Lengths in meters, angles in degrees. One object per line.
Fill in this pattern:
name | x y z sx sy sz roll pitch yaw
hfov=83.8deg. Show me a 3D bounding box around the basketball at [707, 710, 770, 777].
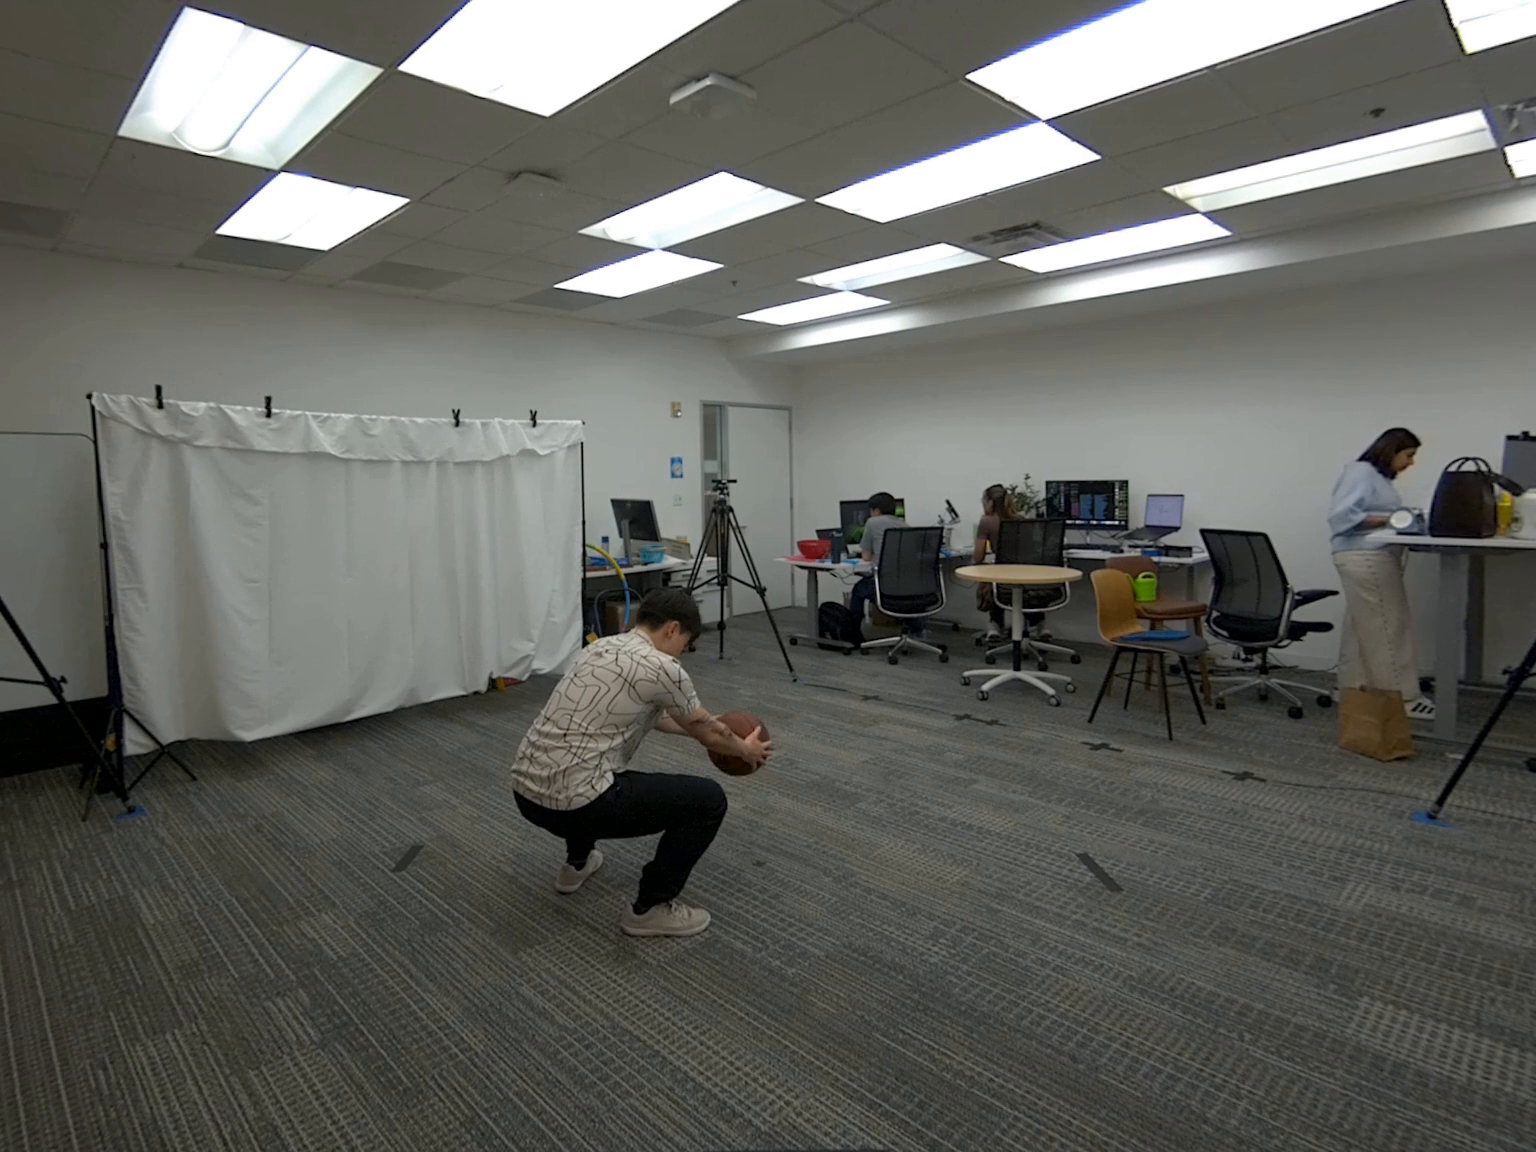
basketball | -0.109 0.630 3.193 0.236 0.235 0.237 -1 5 -2
